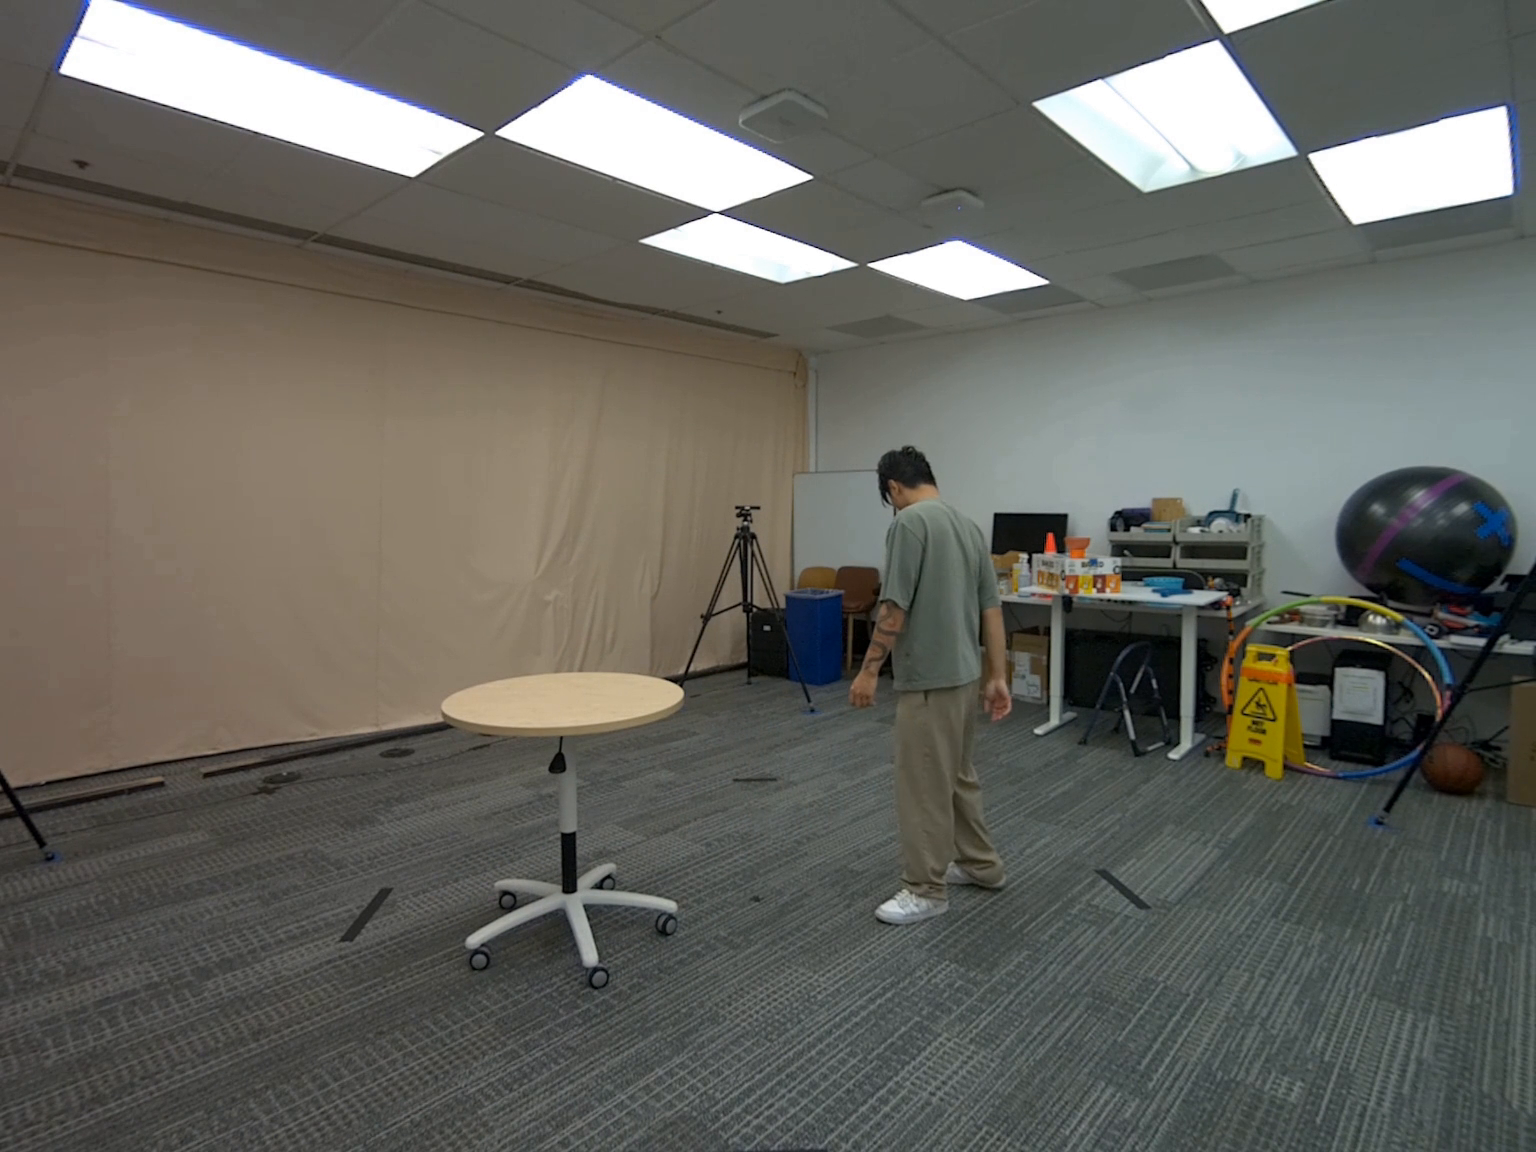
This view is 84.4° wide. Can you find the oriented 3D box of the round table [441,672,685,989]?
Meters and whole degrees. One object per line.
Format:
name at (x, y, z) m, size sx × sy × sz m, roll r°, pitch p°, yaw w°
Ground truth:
round table at (-0.657, 0.780, 2.746) m, size 0.784 × 0.785 × 0.788 m, roll 0°, pitch 4°, yaw -2°
